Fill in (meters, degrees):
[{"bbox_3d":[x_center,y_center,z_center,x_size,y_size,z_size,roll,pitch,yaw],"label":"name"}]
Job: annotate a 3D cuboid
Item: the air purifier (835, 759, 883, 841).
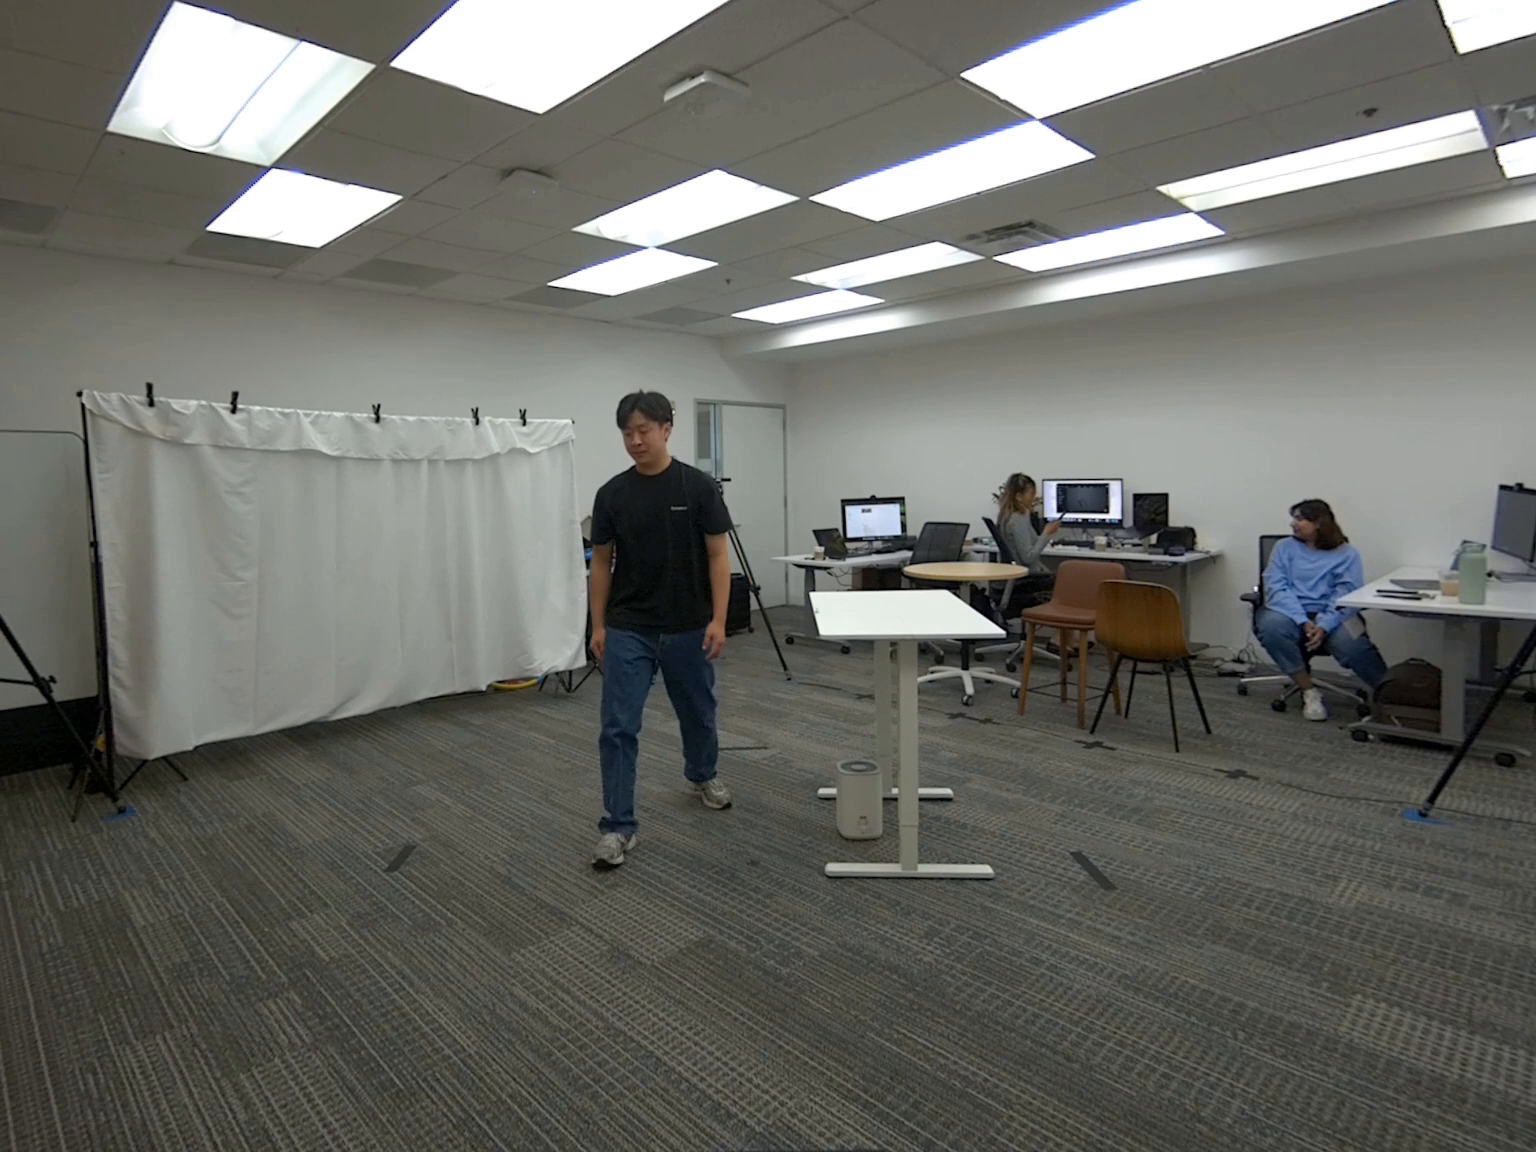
[{"bbox_3d":[0.352,0.870,3.342,0.171,0.264,0.172,-1,4,-3],"label":"air purifier"}]
